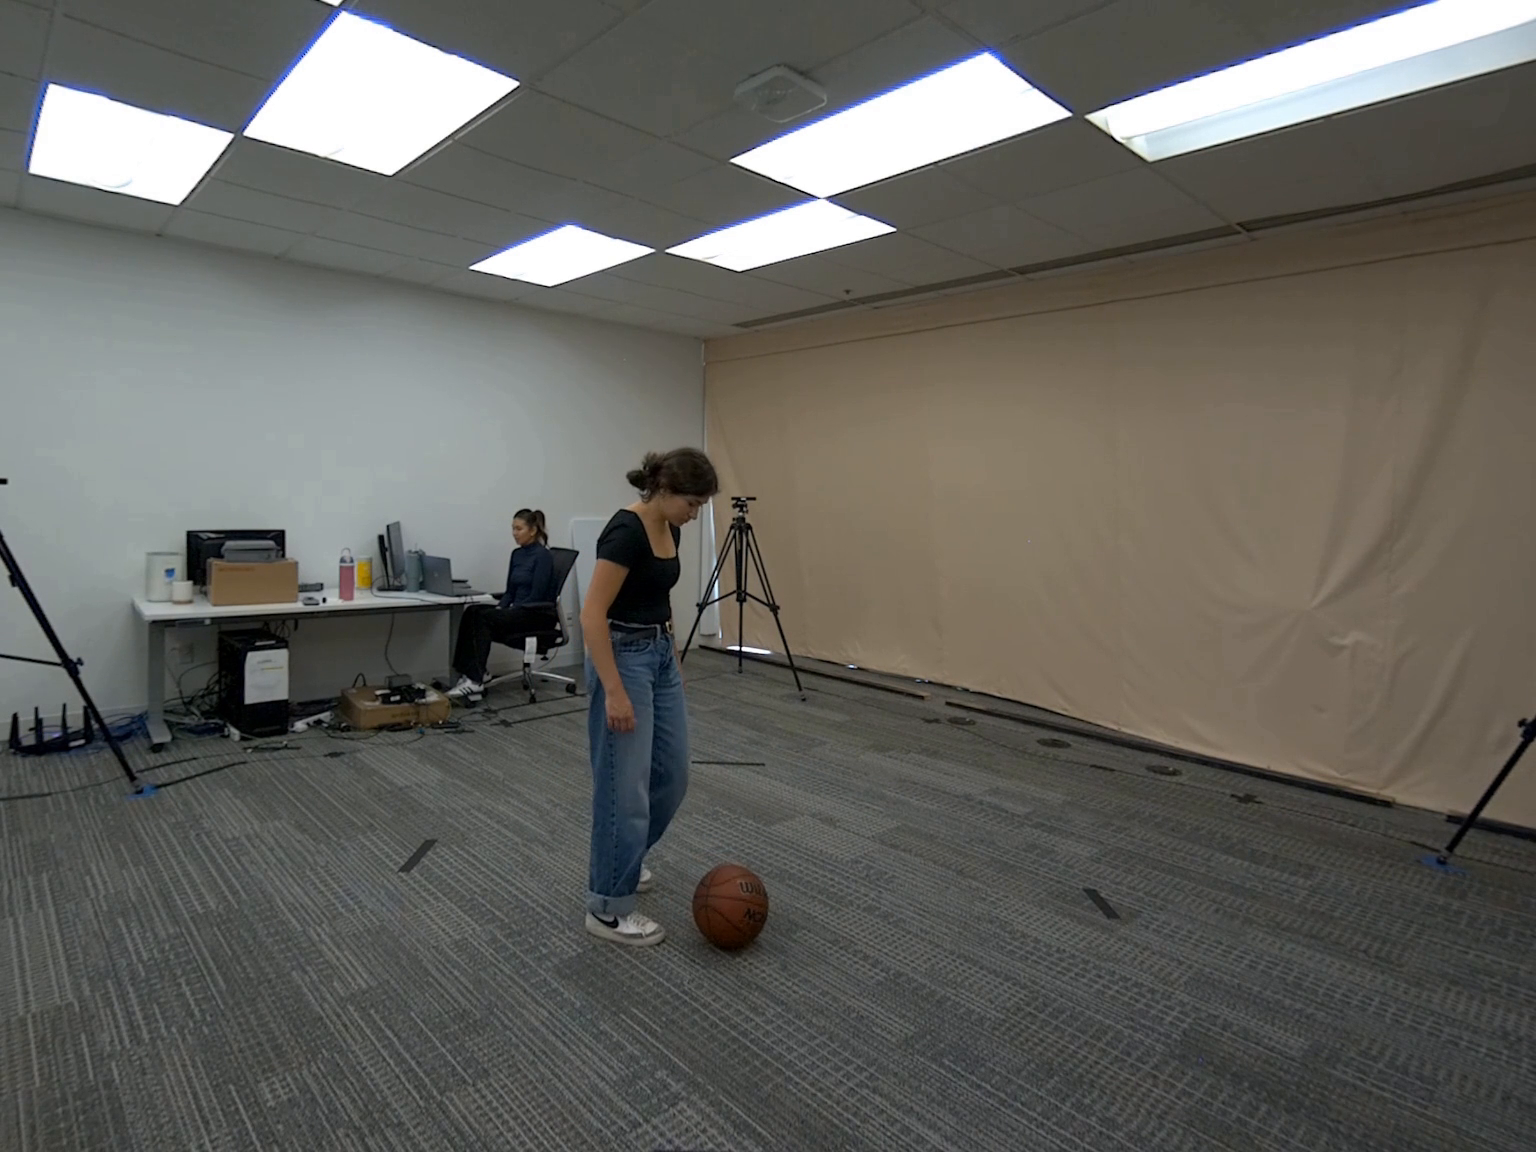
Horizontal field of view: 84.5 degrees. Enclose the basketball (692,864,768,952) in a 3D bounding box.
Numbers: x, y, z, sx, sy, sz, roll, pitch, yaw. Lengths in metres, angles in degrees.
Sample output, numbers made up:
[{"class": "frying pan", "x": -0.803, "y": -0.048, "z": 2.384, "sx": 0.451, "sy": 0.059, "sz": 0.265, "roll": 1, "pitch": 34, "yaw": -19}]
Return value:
[{"class": "basketball", "x": -0.121, "y": 1.029, "z": 2.631, "sx": 0.236, "sy": 0.235, "sz": 0.237, "roll": 1, "pitch": 4, "yaw": -1}]
